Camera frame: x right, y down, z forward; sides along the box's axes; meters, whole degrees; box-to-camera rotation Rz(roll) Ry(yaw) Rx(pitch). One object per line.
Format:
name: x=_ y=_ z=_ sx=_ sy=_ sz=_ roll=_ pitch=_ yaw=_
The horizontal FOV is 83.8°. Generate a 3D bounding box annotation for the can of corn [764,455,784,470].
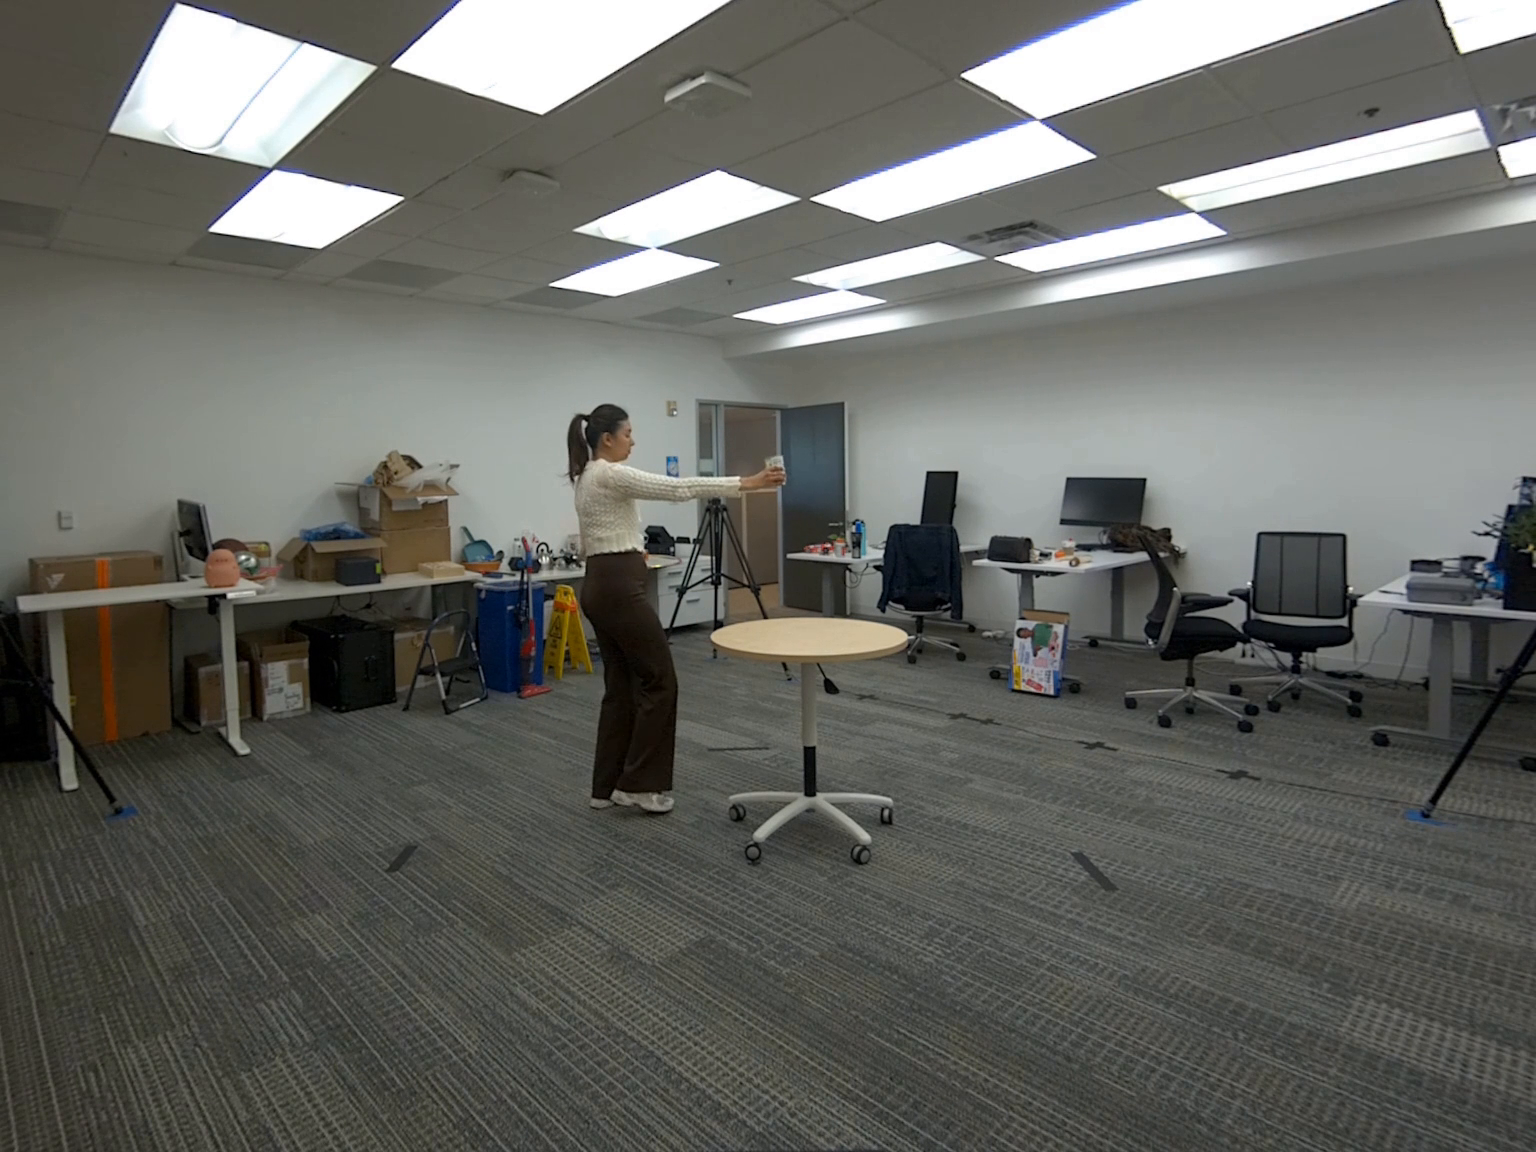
can of corn: x=0.029 y=-0.433 z=3.492 sx=0.074 sy=0.111 sz=0.074 roll=-8 pitch=2 yaw=-1
